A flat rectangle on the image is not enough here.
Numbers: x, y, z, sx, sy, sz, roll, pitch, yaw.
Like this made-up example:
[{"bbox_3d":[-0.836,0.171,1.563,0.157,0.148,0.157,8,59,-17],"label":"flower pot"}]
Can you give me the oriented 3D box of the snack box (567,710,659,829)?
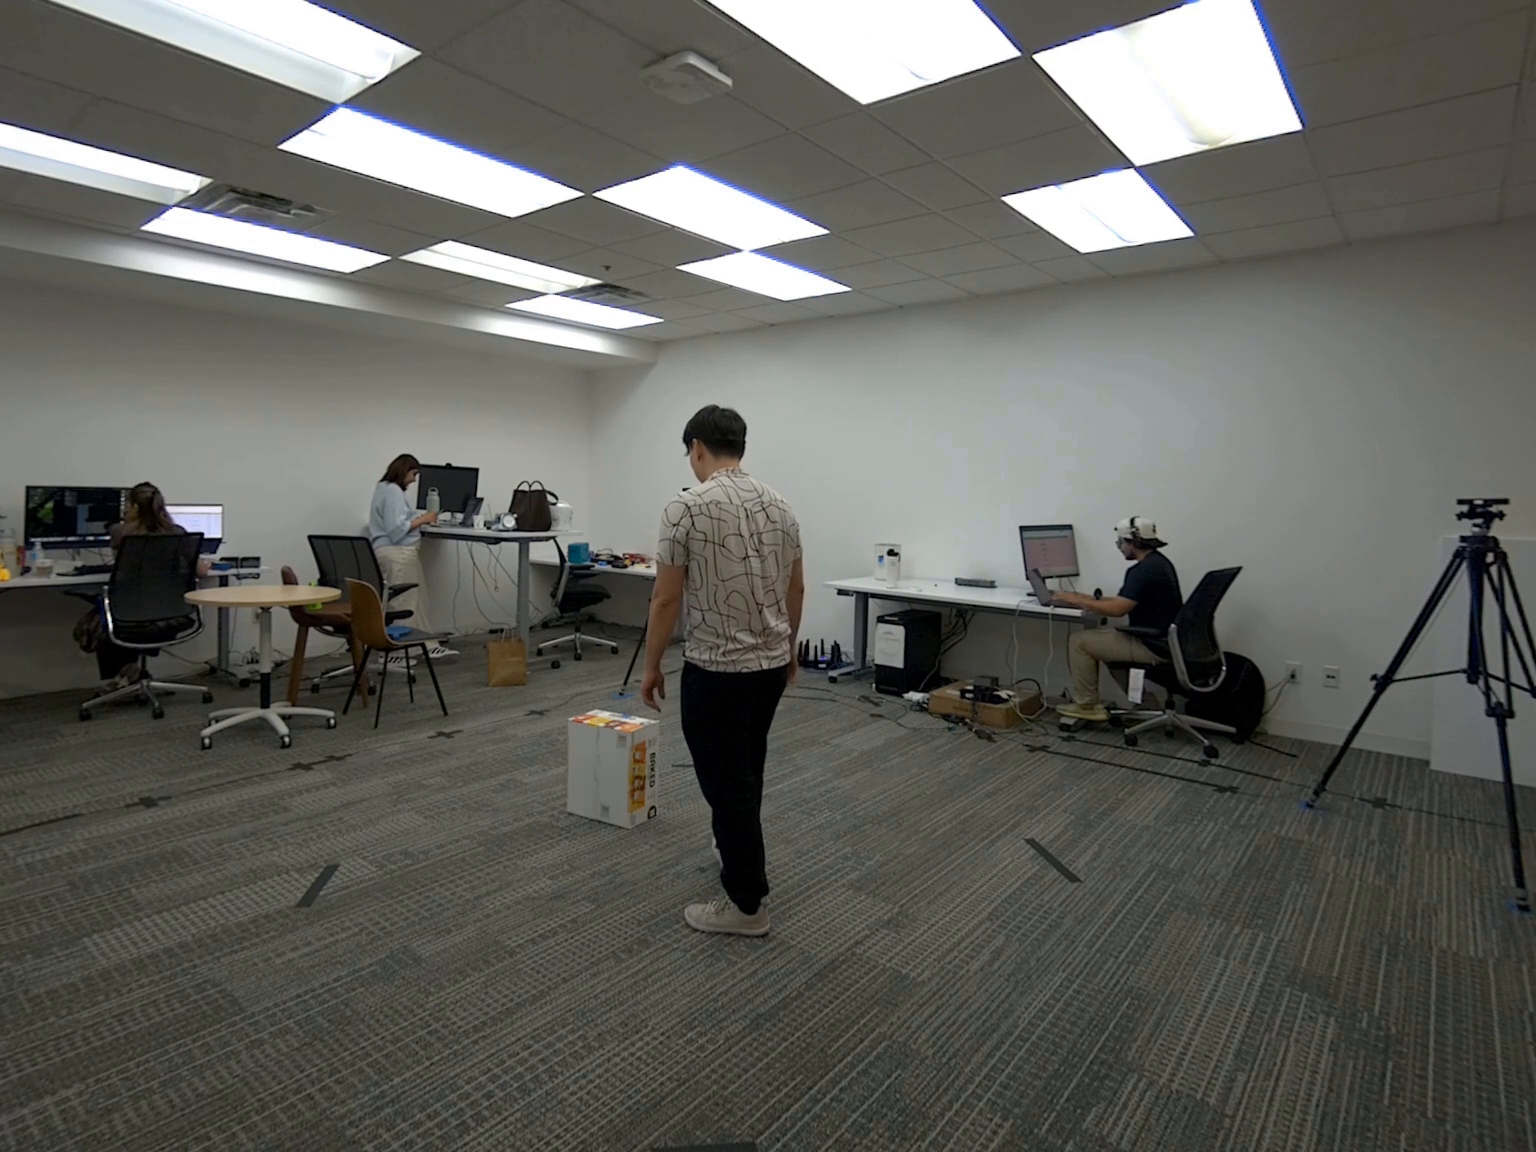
[{"bbox_3d":[-0.676,0.809,3.620,0.350,0.404,0.200,4,4,30],"label":"snack box"}]
